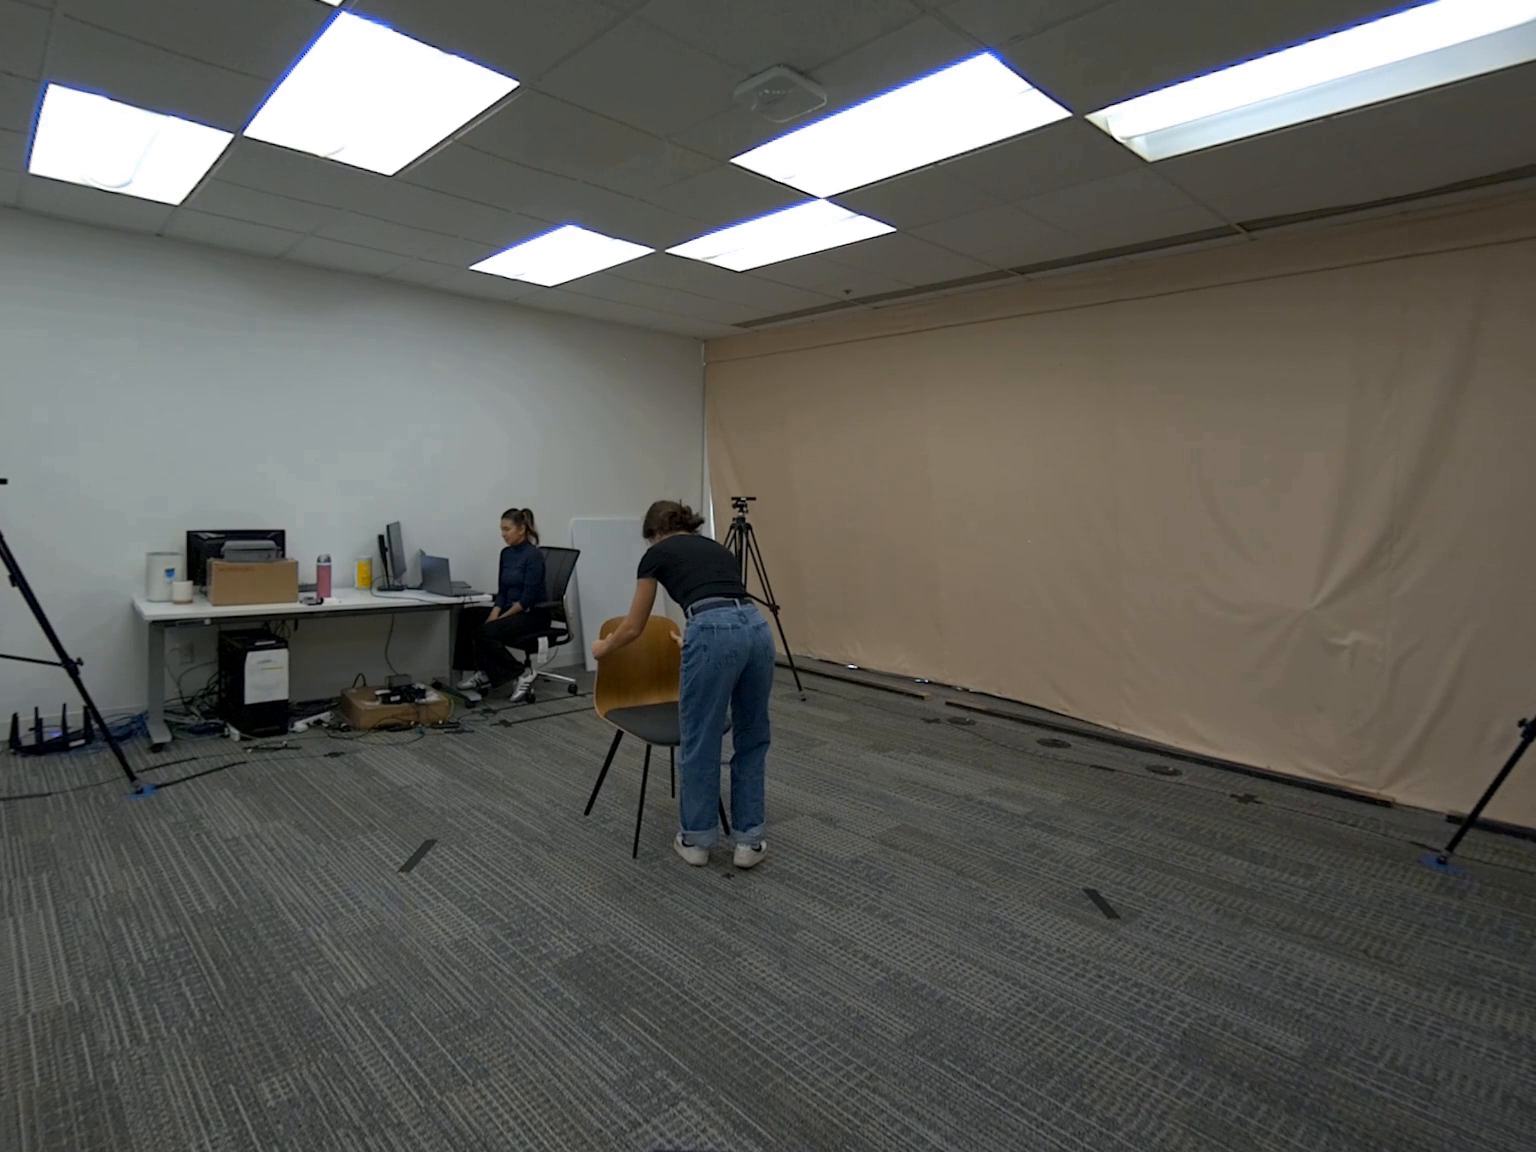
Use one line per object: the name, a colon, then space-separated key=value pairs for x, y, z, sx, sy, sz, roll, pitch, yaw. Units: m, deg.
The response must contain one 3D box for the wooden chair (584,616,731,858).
wooden chair: x=-0.447 y=0.625 z=3.491 sx=0.467 sy=0.876 sz=0.536 roll=-1 pitch=3 yaw=-36
